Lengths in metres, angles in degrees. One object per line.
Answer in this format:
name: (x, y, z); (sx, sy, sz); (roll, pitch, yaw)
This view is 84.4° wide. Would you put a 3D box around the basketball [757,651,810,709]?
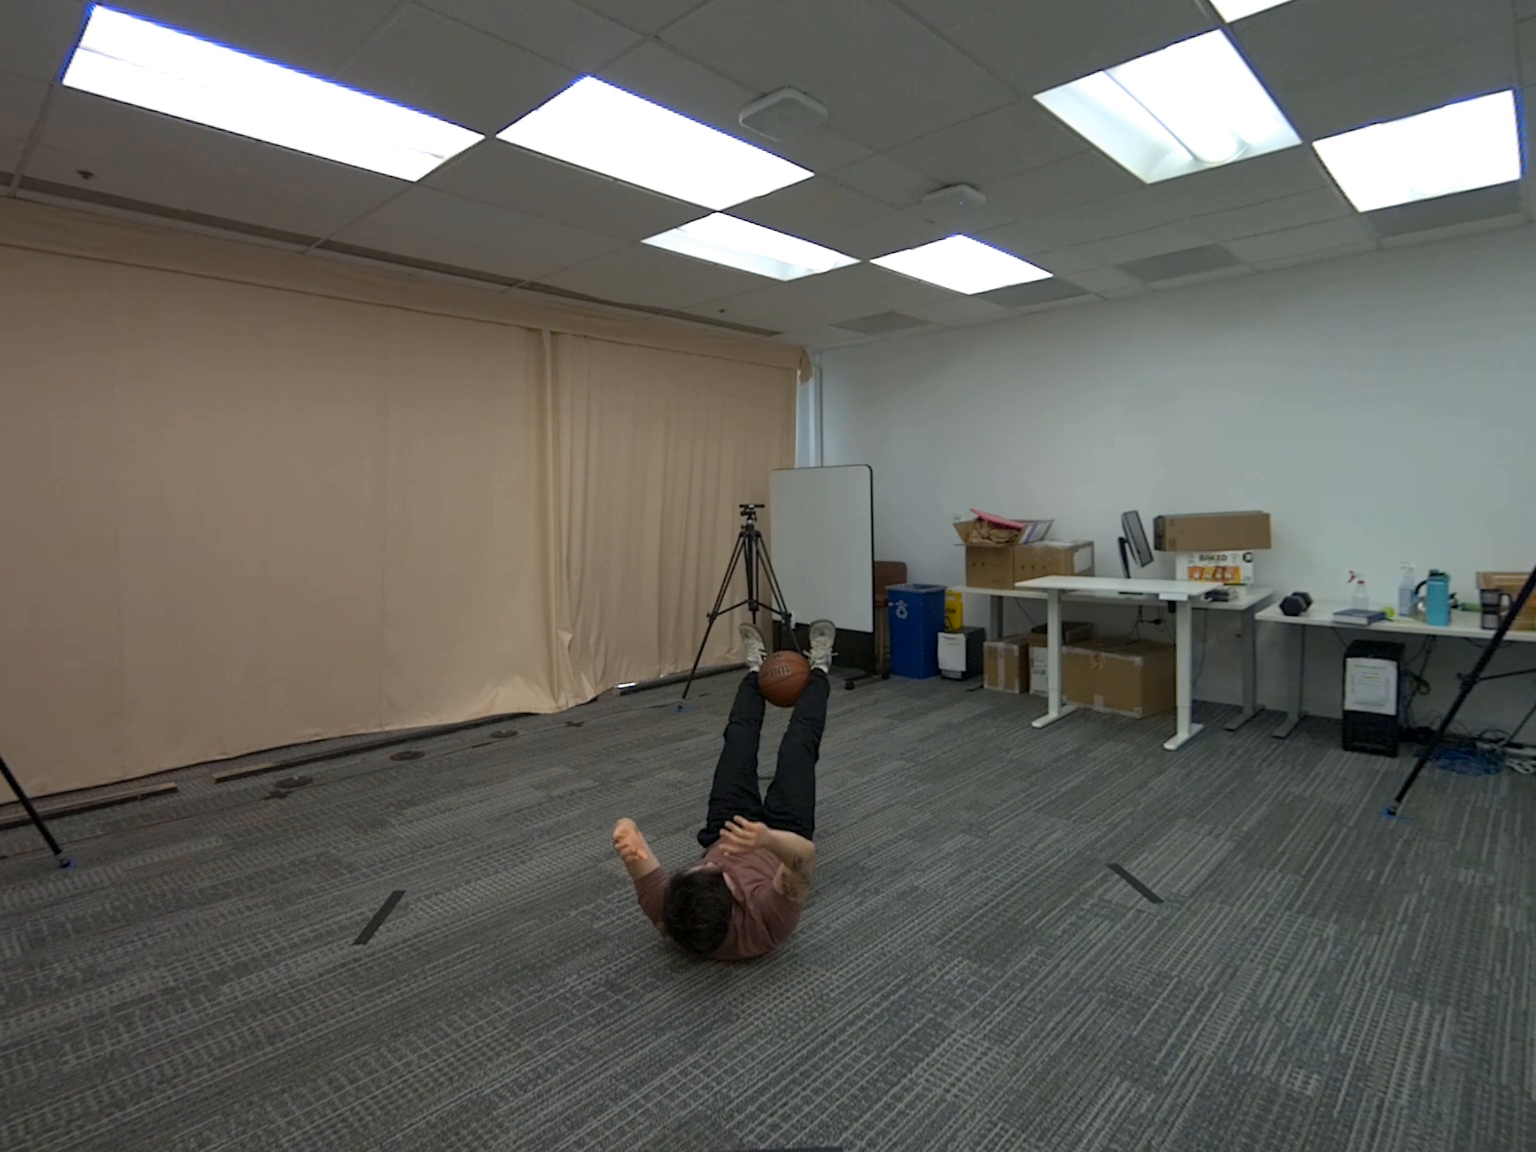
basketball: (0.080, 0.436, 3.535); (0.235, 0.235, 0.237); (3, 5, -2)
